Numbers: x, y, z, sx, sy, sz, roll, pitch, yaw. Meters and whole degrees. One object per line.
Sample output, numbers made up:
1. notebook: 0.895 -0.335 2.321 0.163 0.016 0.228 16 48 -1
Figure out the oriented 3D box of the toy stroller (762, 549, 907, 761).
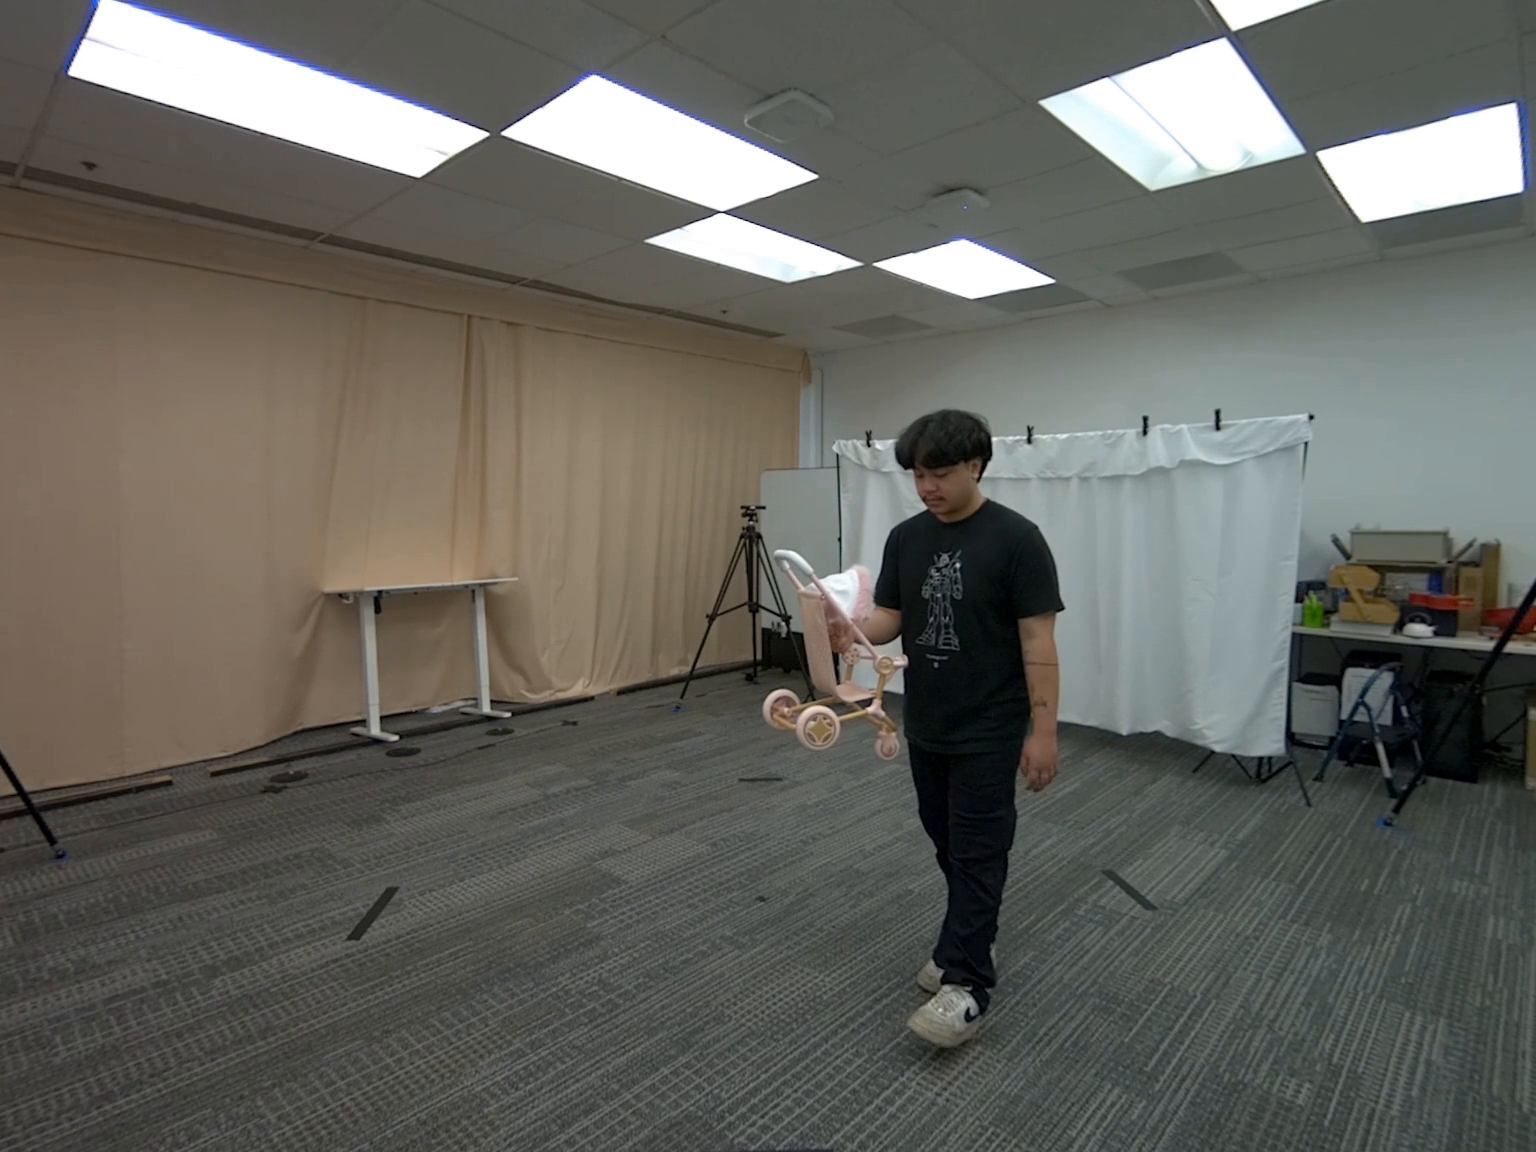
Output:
1. toy stroller: 0.194 0.210 2.150 0.337 0.535 0.285 2 -2 -13
